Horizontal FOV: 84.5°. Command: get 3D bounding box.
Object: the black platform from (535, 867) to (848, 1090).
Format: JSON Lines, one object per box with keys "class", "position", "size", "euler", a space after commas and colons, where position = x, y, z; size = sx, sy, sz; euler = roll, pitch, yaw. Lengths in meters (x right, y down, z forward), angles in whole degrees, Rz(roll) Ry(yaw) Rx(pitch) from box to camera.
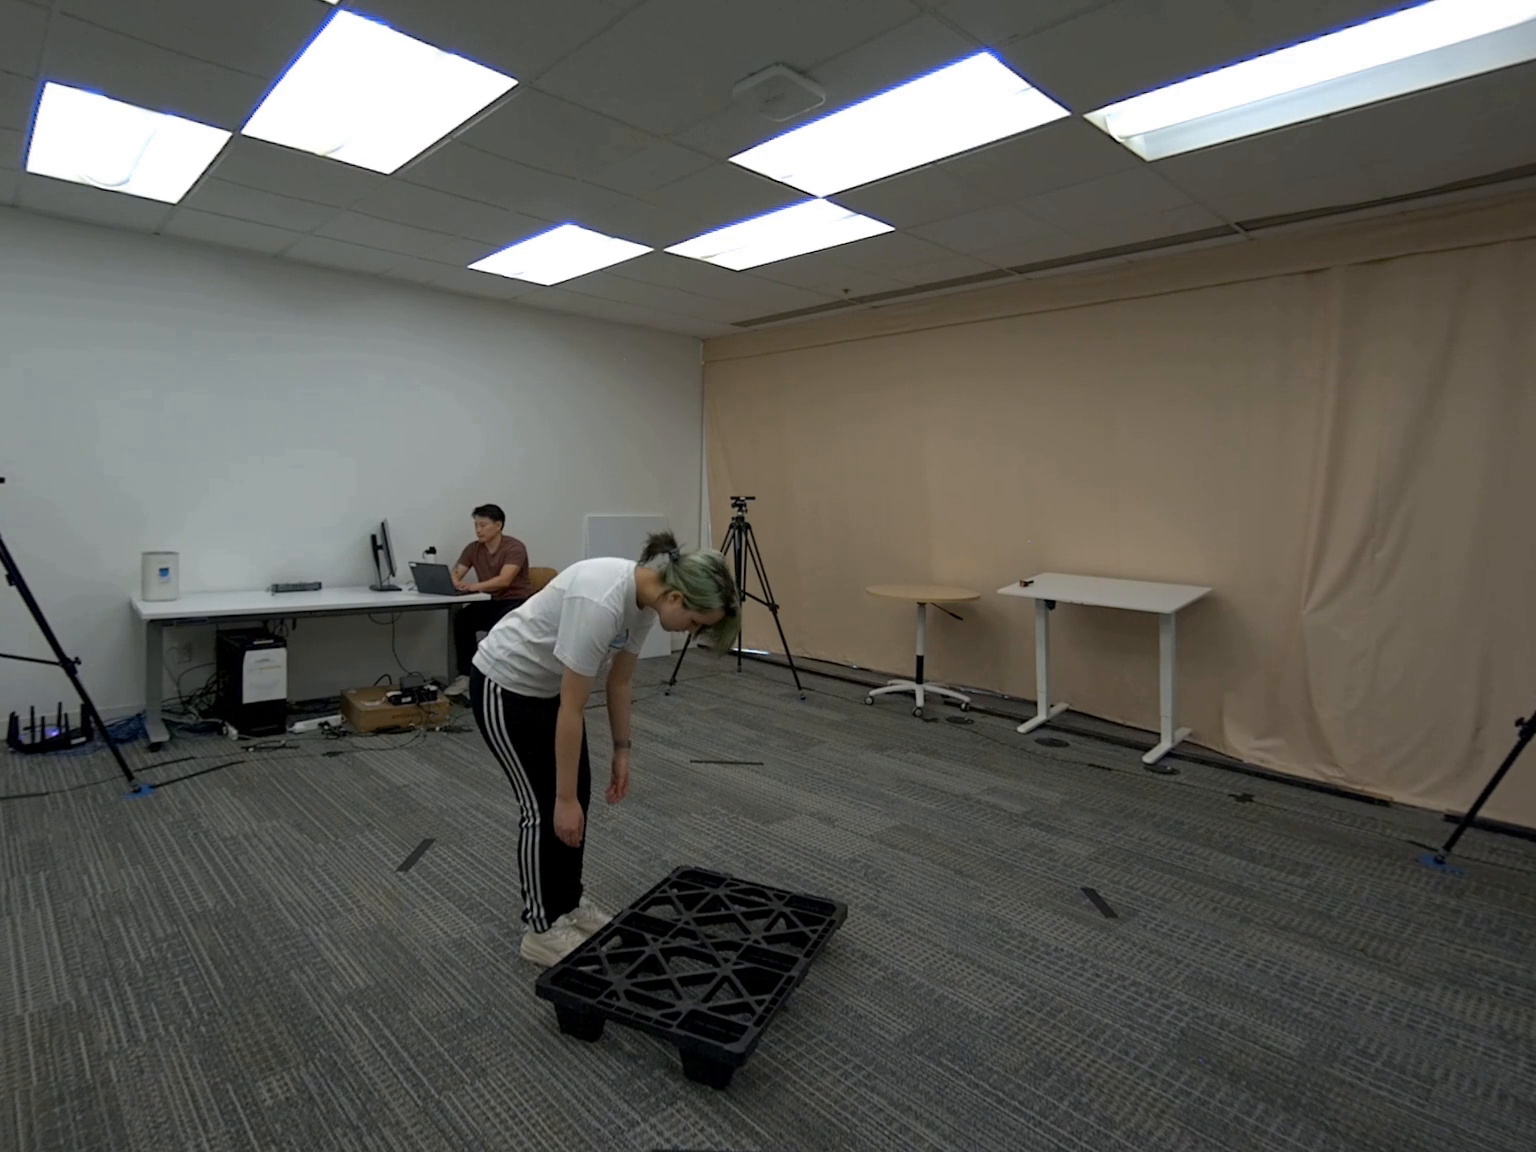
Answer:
{"class": "black platform", "position": [-0.182, 1.100, 2.399], "size": [0.617, 0.143, 0.793], "euler": [5, 6, 24]}
